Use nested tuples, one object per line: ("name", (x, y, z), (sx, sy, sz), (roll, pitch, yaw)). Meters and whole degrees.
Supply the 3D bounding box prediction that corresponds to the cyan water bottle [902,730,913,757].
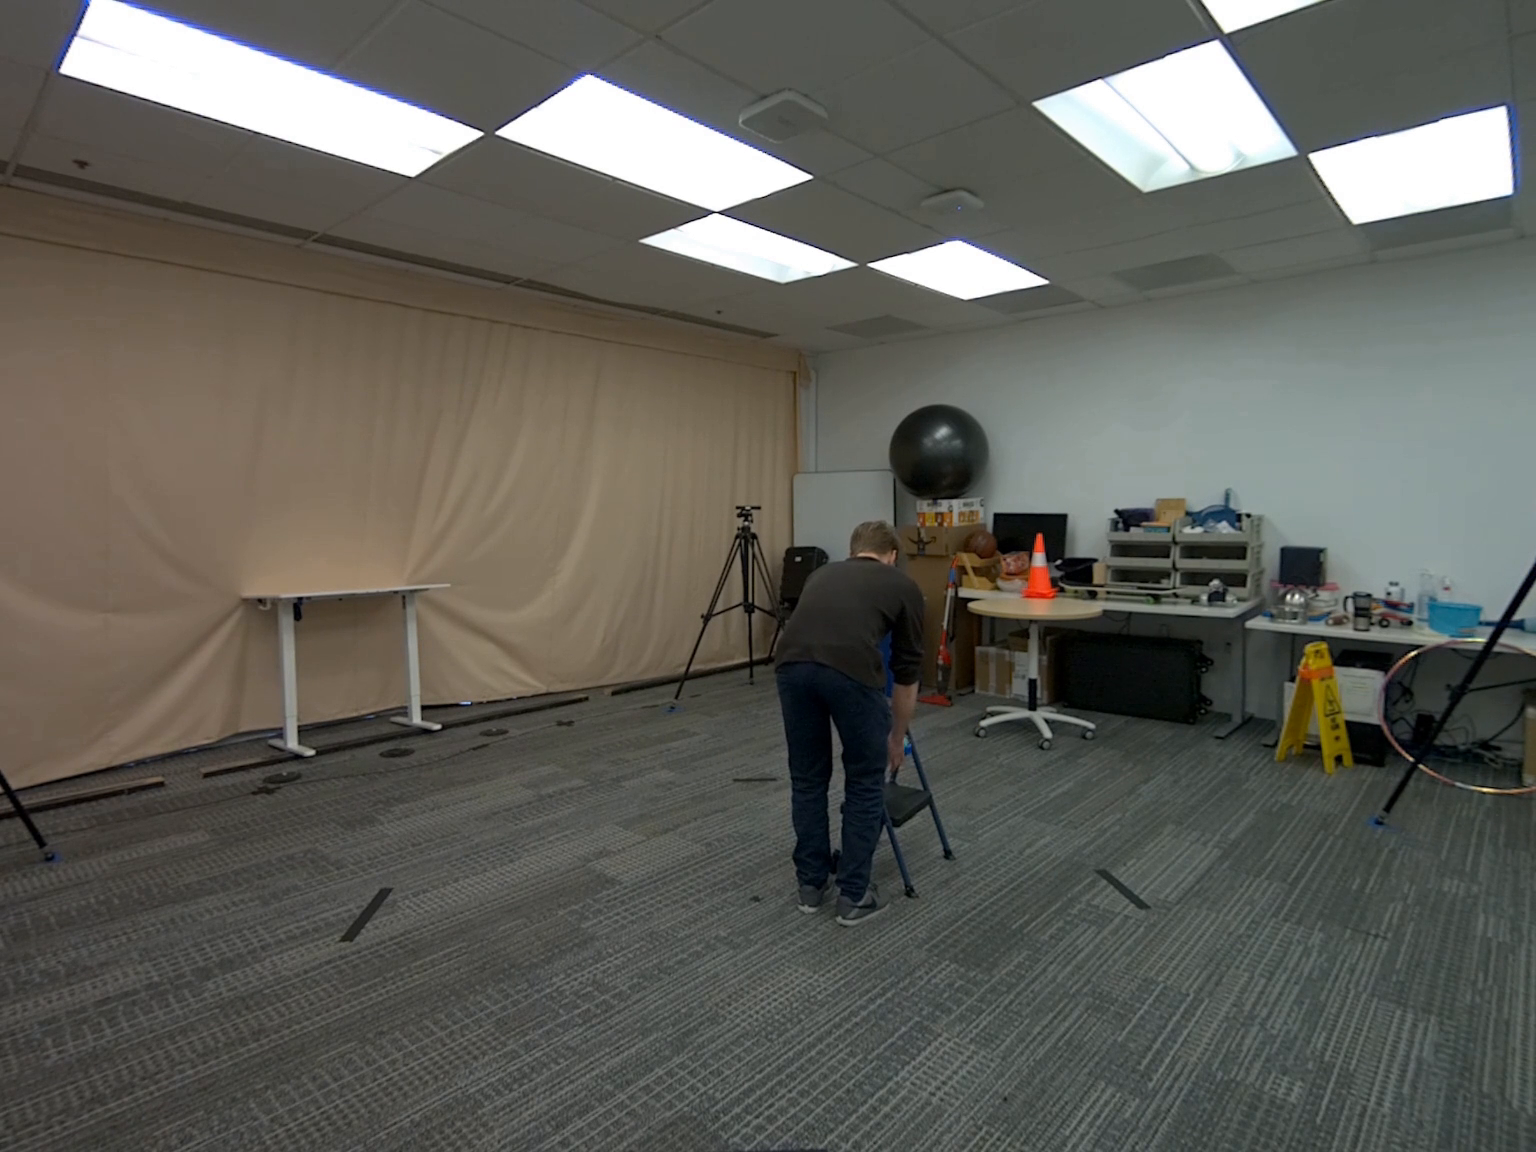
("cyan water bottle", (0.437, 0.681, 3.242), (0.277, 0.092, 0.095), (-12, 9, -27))
